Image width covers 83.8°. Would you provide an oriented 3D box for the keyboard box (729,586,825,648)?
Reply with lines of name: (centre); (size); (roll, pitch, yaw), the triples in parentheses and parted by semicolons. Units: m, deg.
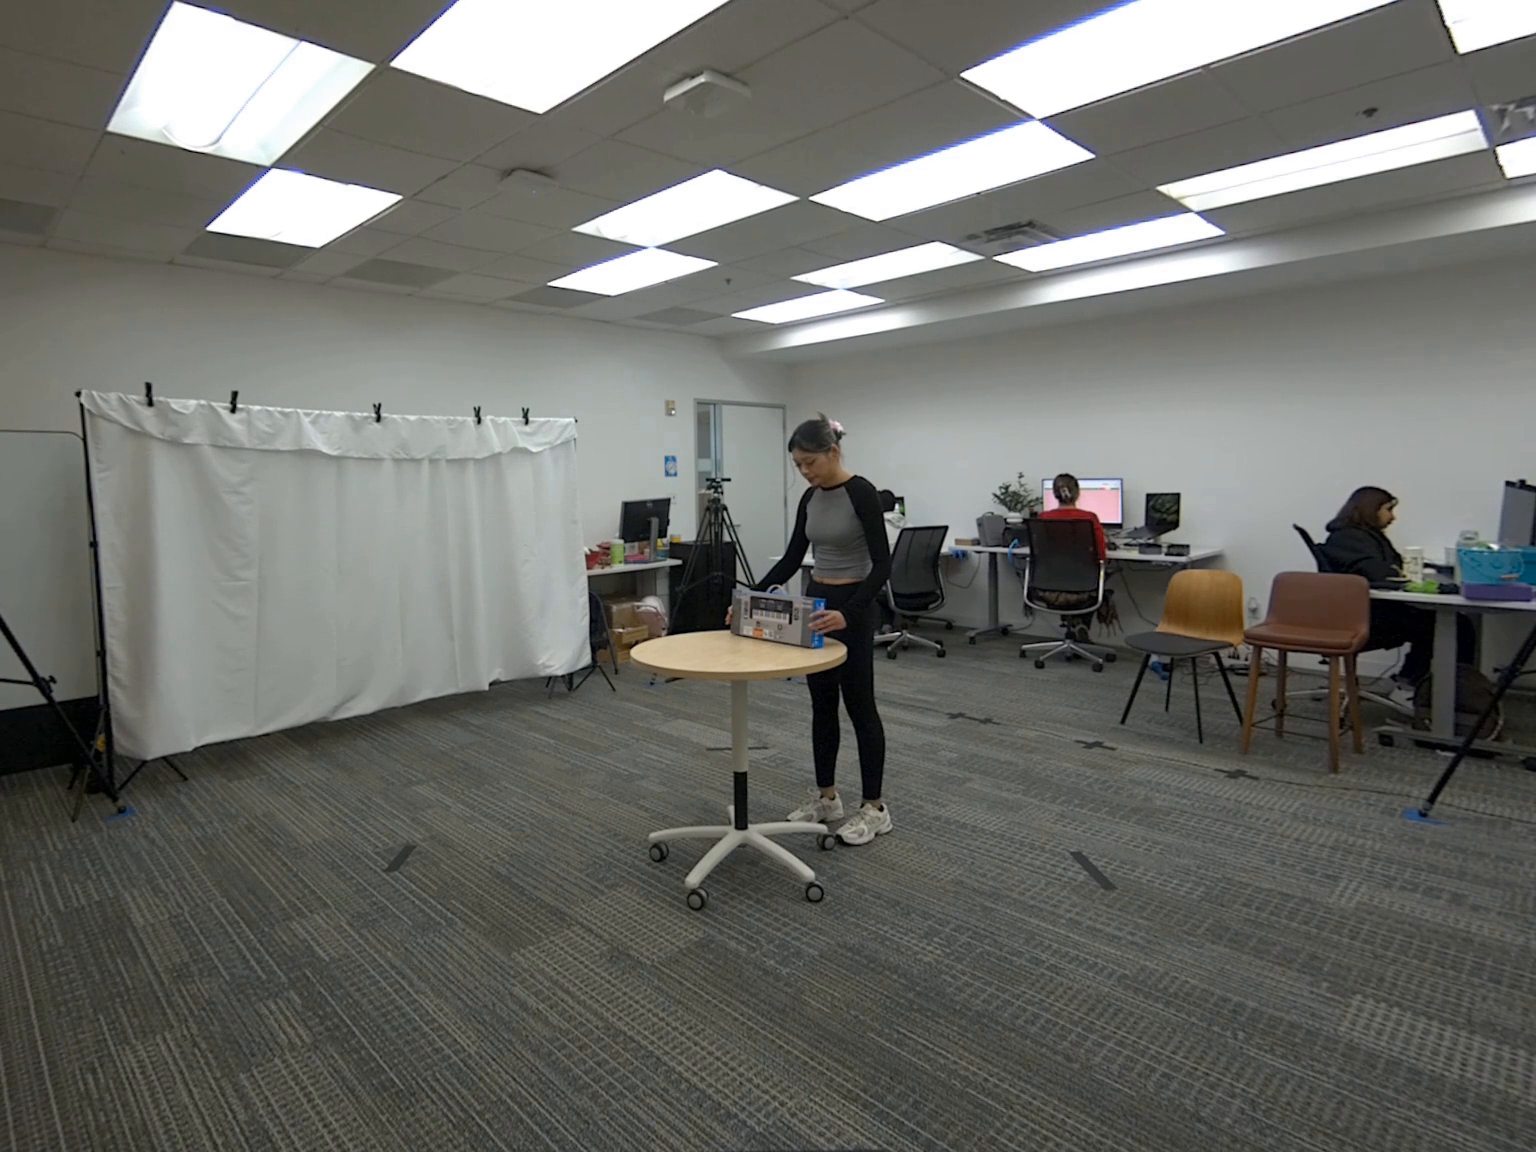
keyboard box: (0.032, 0.154, 3.167); (0.057, 0.176, 0.450); (5, 1, -41)
